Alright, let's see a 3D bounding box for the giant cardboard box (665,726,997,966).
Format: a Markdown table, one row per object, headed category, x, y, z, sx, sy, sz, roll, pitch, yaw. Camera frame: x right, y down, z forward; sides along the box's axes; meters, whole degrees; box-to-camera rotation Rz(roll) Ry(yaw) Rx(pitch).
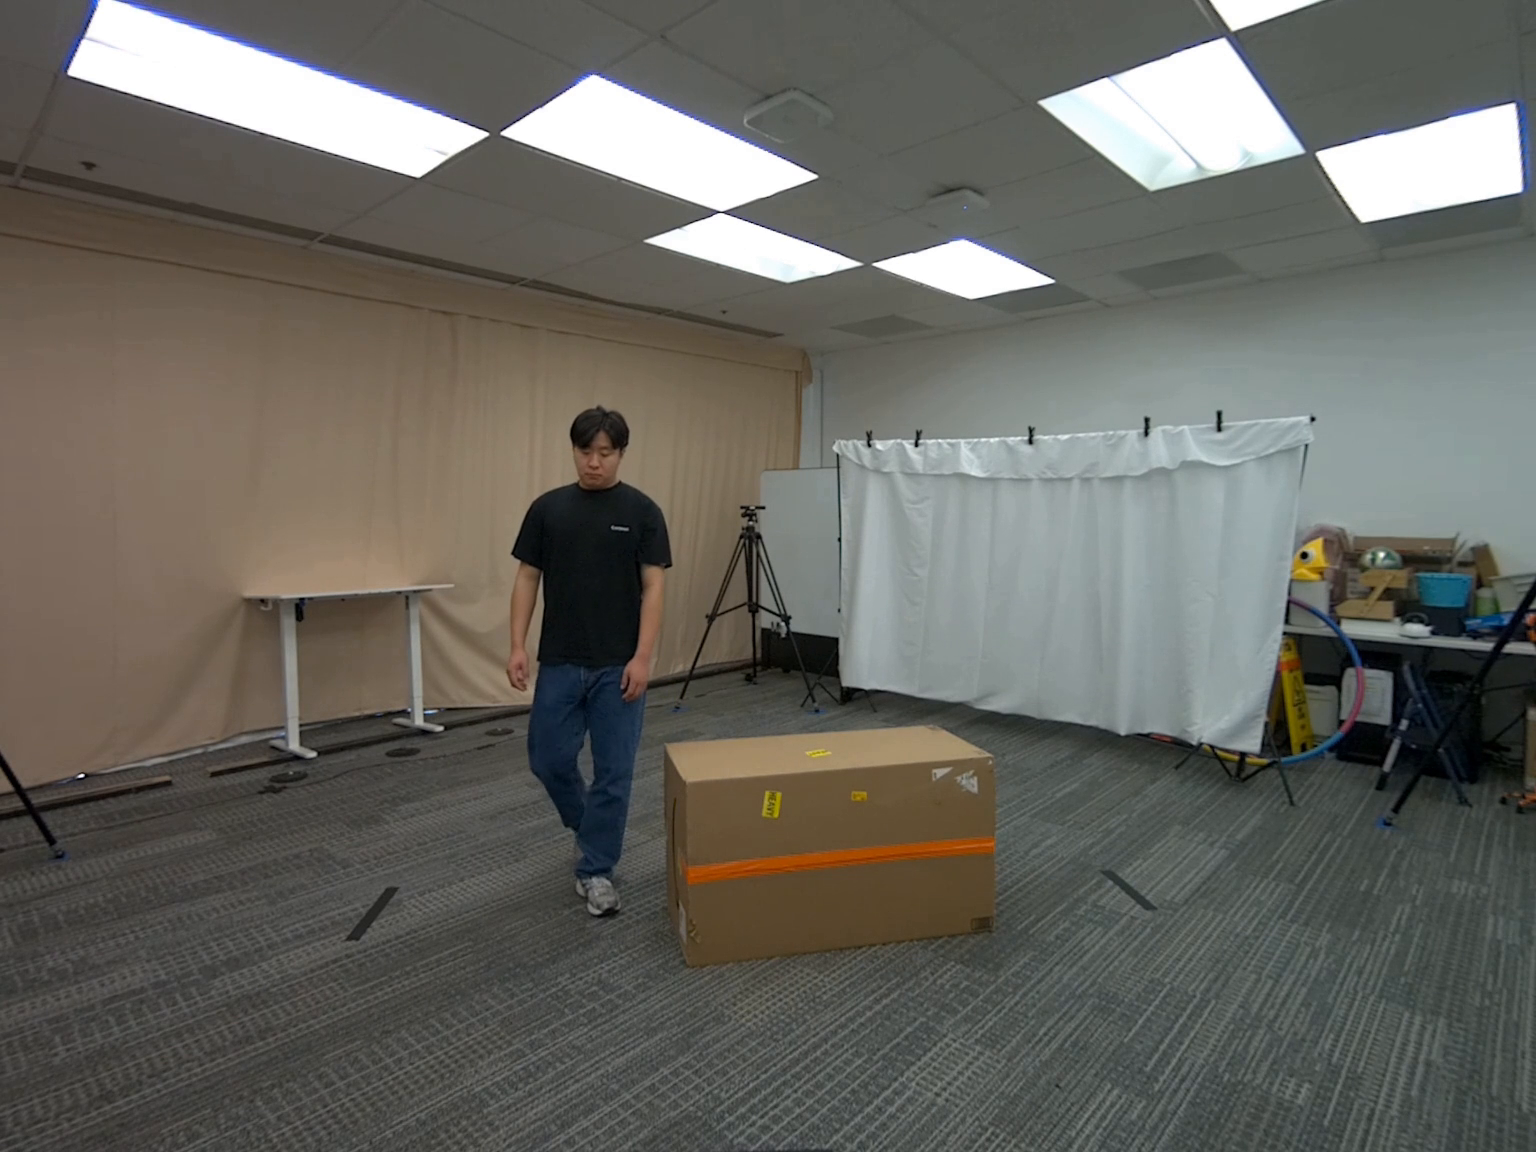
| category | x | y | z | sx | sy | sz | roll | pitch | yaw |
| --- | --- | --- | --- | --- | --- | --- | --- | --- | --- |
| giant cardboard box | 0.194 | 0.868 | 2.826 | 1.013 | 0.582 | 0.454 | -2 | 4 | -13 |
